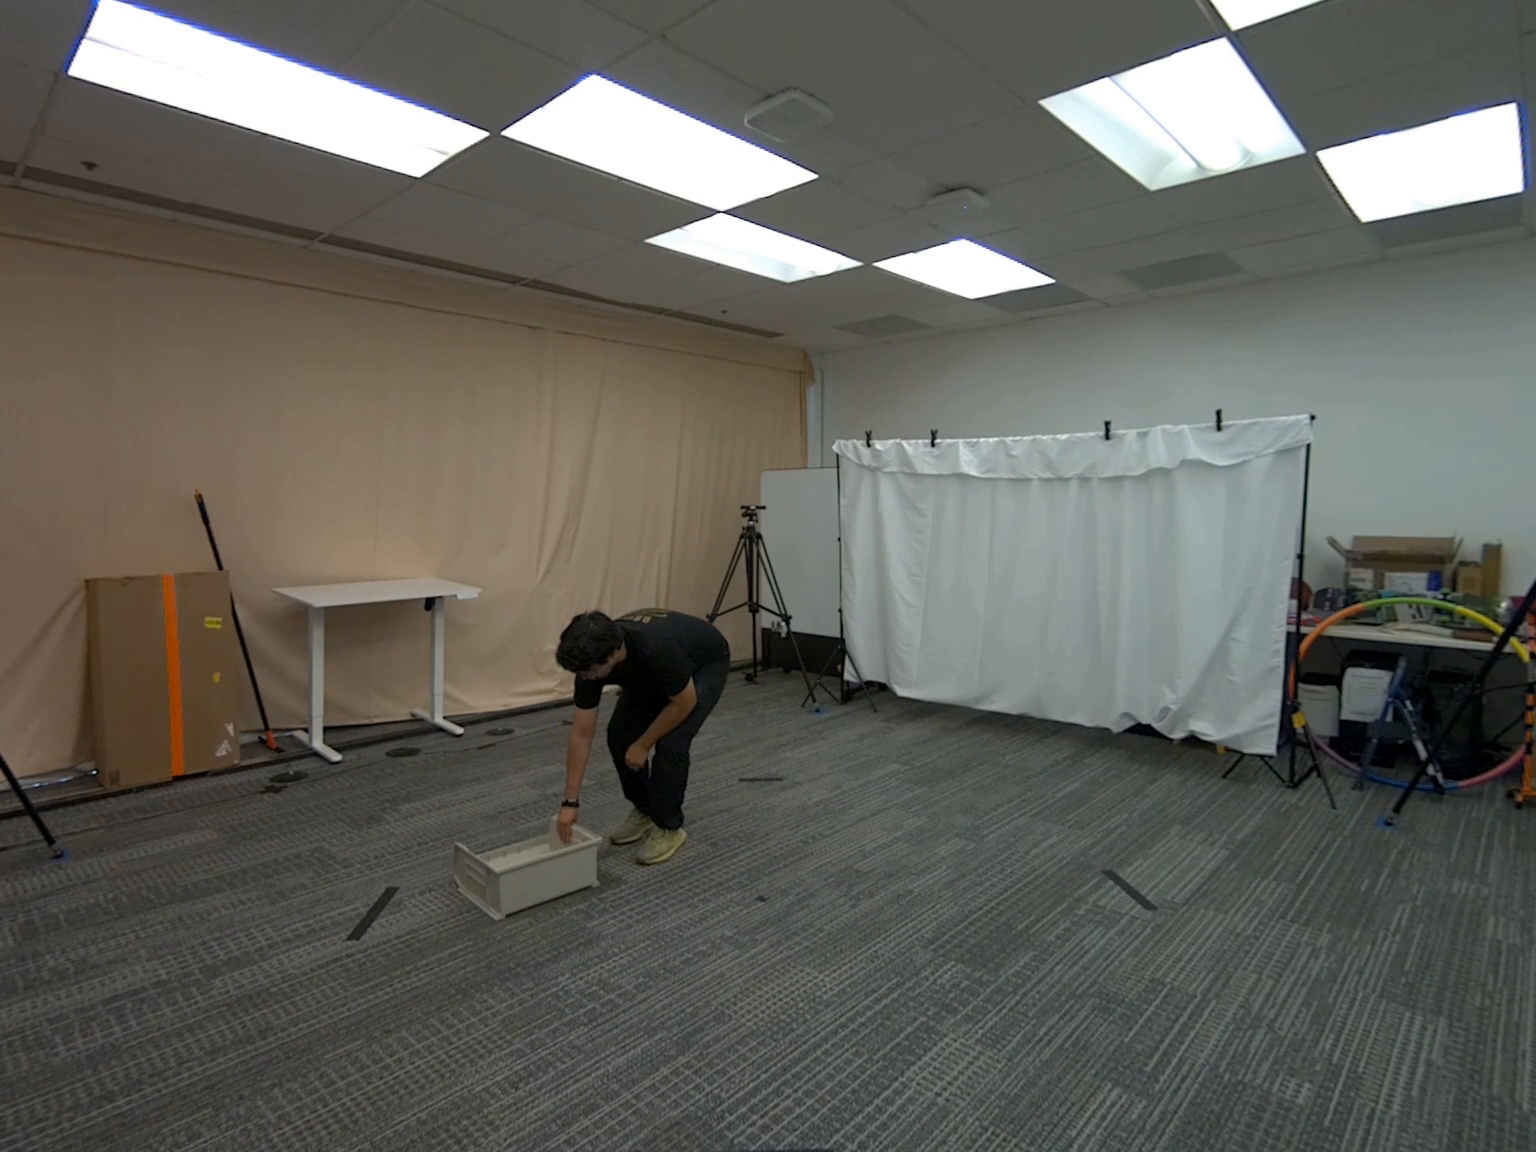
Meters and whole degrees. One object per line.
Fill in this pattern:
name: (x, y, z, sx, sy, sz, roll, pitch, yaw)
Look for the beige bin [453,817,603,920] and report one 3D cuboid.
beige bin: (-0.892, 1.053, 3.091, 0.409, 0.188, 0.390, -4, 7, -42)
